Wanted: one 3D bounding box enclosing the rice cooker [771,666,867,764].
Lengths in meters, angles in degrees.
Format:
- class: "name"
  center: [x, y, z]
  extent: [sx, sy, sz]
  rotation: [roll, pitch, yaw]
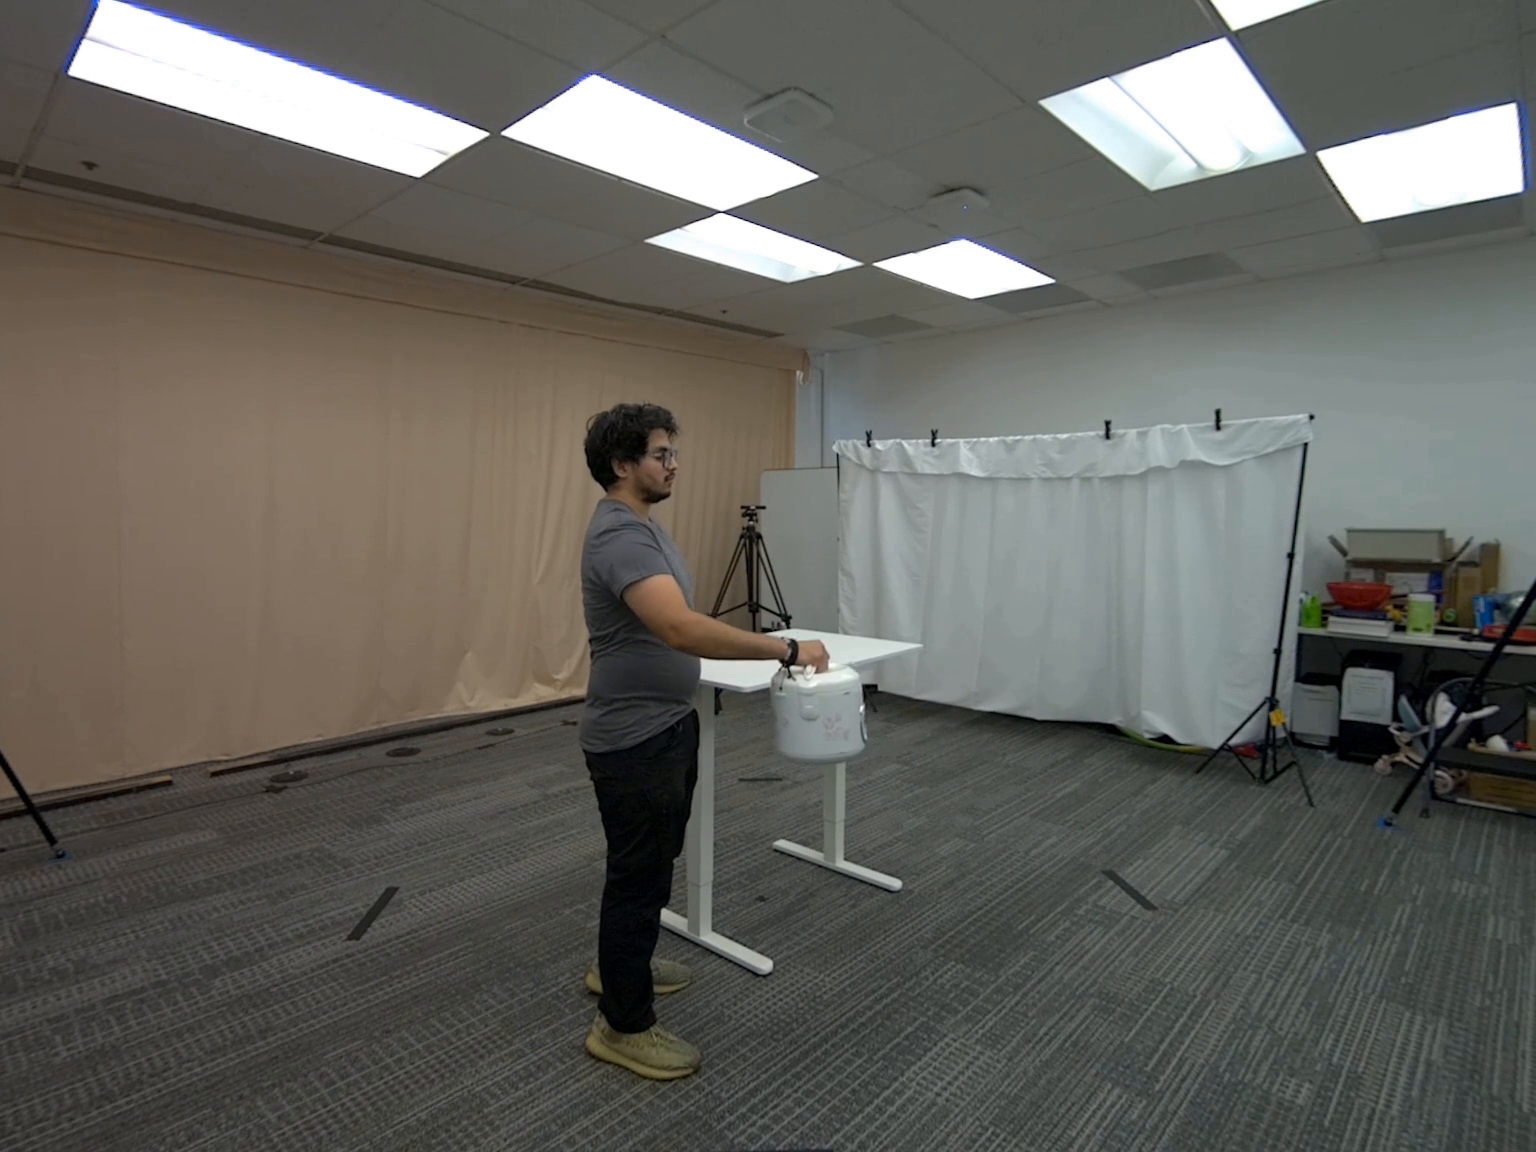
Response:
- class: "rice cooker"
  center: [0.116, 0.307, 1.961]
  extent: [0.221, 0.232, 0.217]
  rotation: [-4, 1, 16]
